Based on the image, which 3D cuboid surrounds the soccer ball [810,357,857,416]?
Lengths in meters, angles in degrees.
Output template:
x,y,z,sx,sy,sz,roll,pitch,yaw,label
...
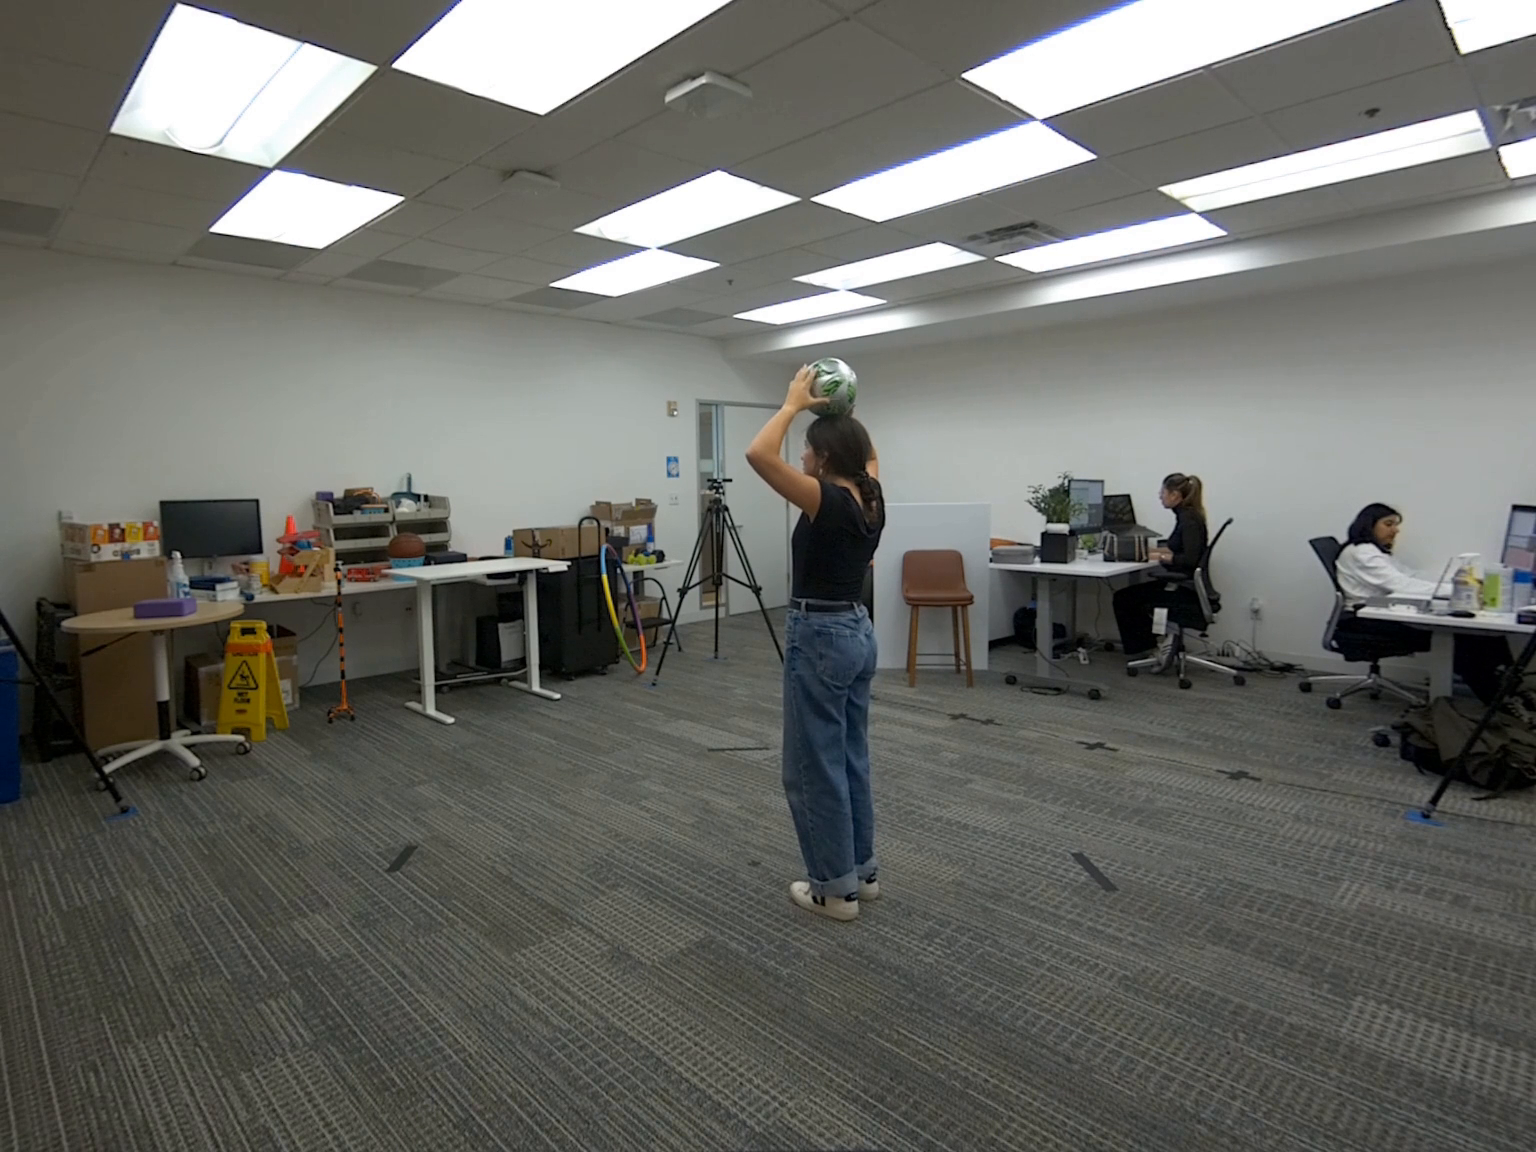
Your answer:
x,y,z,sx,sy,sz,roll,pitch,yaw,label
0.196,-0.598,2.736,0.187,0.187,0.188,-1,5,-2,soccer ball
